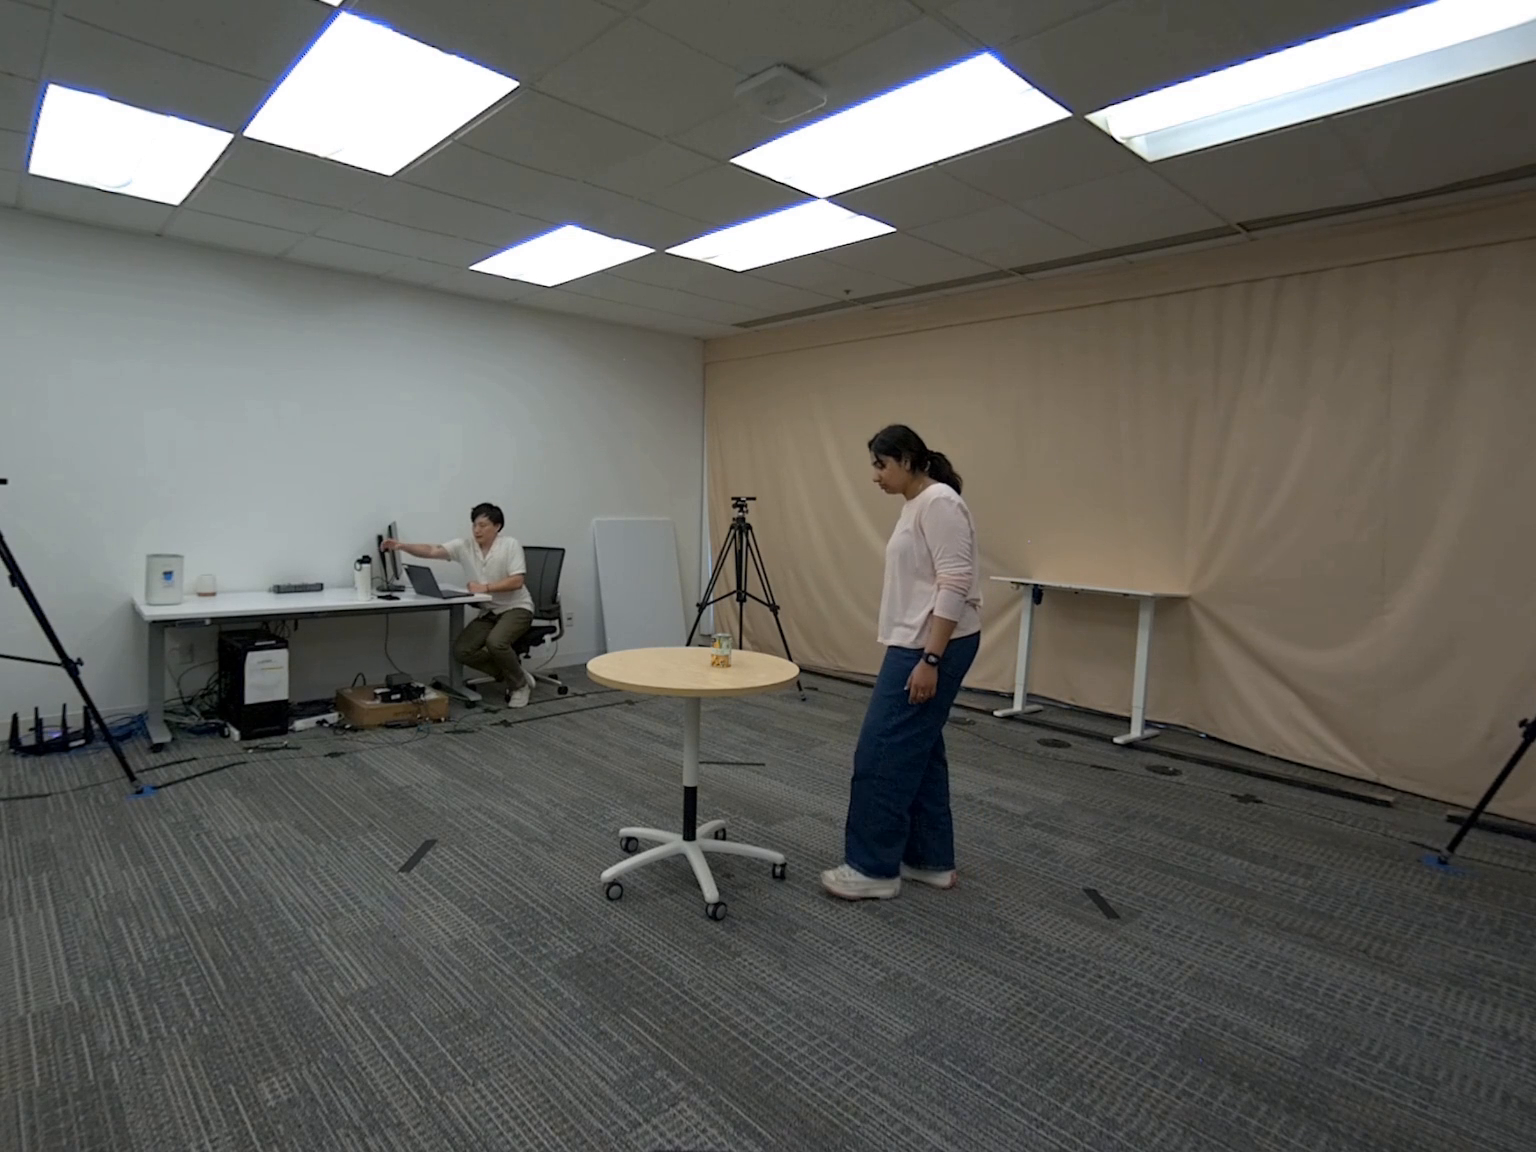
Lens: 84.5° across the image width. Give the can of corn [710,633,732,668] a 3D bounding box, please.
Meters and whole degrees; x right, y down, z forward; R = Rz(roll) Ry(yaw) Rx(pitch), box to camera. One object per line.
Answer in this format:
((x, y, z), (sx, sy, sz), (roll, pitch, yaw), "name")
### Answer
((-0.169, 0.269, 3.061), (0.074, 0.110, 0.074), (2, 6, -2), "can of corn")
